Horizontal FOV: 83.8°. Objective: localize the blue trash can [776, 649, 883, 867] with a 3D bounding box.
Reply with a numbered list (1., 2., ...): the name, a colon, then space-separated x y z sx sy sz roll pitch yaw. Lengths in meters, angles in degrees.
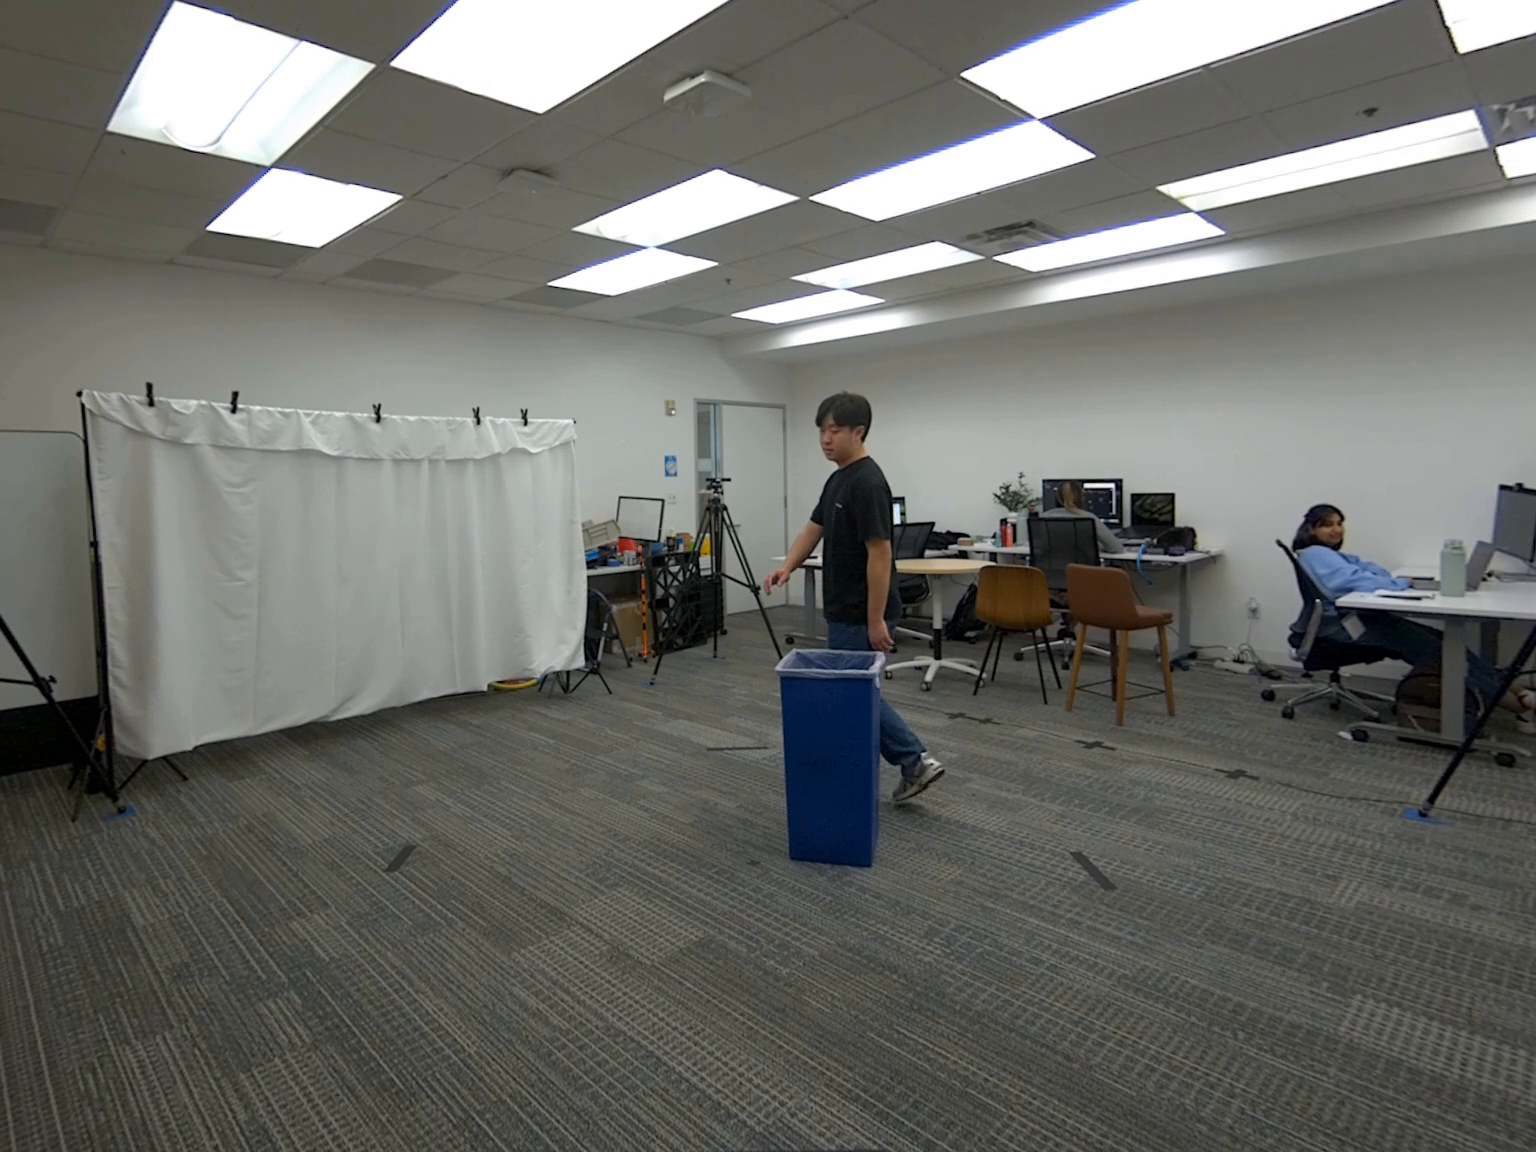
1. blue trash can: 0.251 0.665 3.211 0.379 0.711 0.374 -2 4 13
